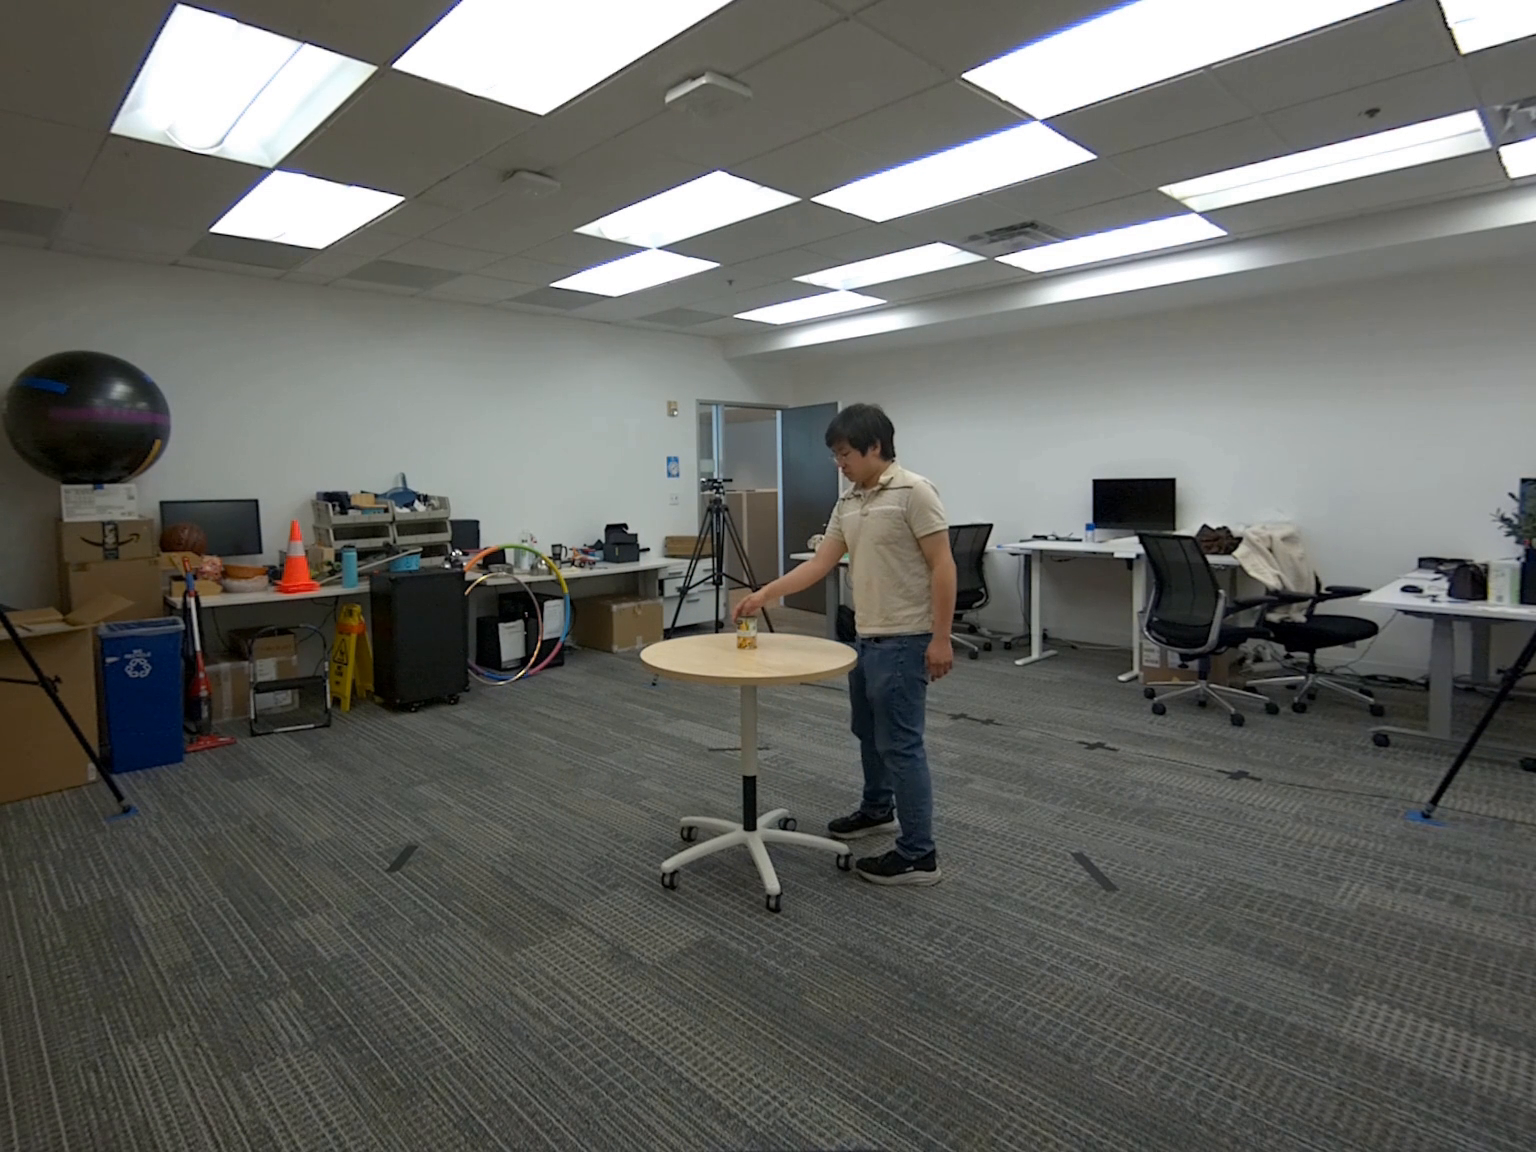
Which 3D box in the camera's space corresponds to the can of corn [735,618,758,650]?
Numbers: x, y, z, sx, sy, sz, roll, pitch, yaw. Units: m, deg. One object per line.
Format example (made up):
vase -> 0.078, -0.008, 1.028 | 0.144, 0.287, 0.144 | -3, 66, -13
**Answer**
can of corn -> -0.073, 0.205, 3.114 | 0.074, 0.111, 0.074 | 2, 3, -2
